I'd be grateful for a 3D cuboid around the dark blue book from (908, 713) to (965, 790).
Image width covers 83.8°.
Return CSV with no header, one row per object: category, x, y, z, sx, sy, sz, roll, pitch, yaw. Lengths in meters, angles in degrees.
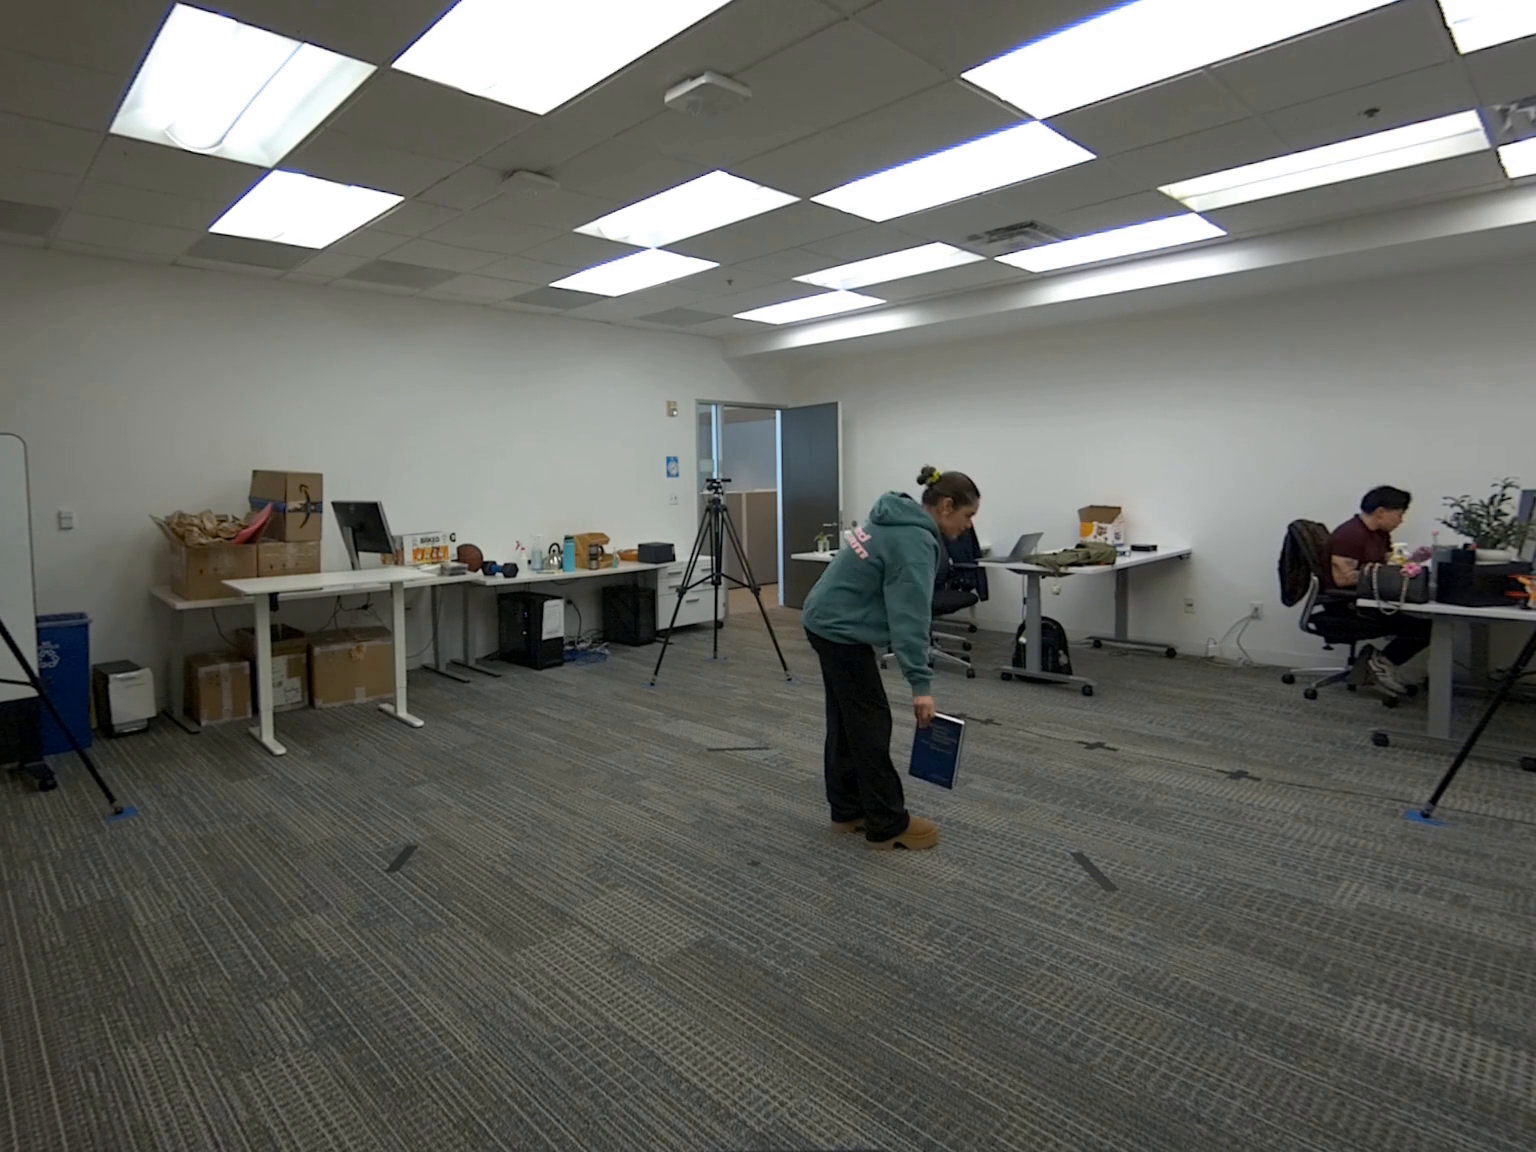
dark blue book,0.587,0.604,3.009,0.168,0.243,0.044,12,10,31
